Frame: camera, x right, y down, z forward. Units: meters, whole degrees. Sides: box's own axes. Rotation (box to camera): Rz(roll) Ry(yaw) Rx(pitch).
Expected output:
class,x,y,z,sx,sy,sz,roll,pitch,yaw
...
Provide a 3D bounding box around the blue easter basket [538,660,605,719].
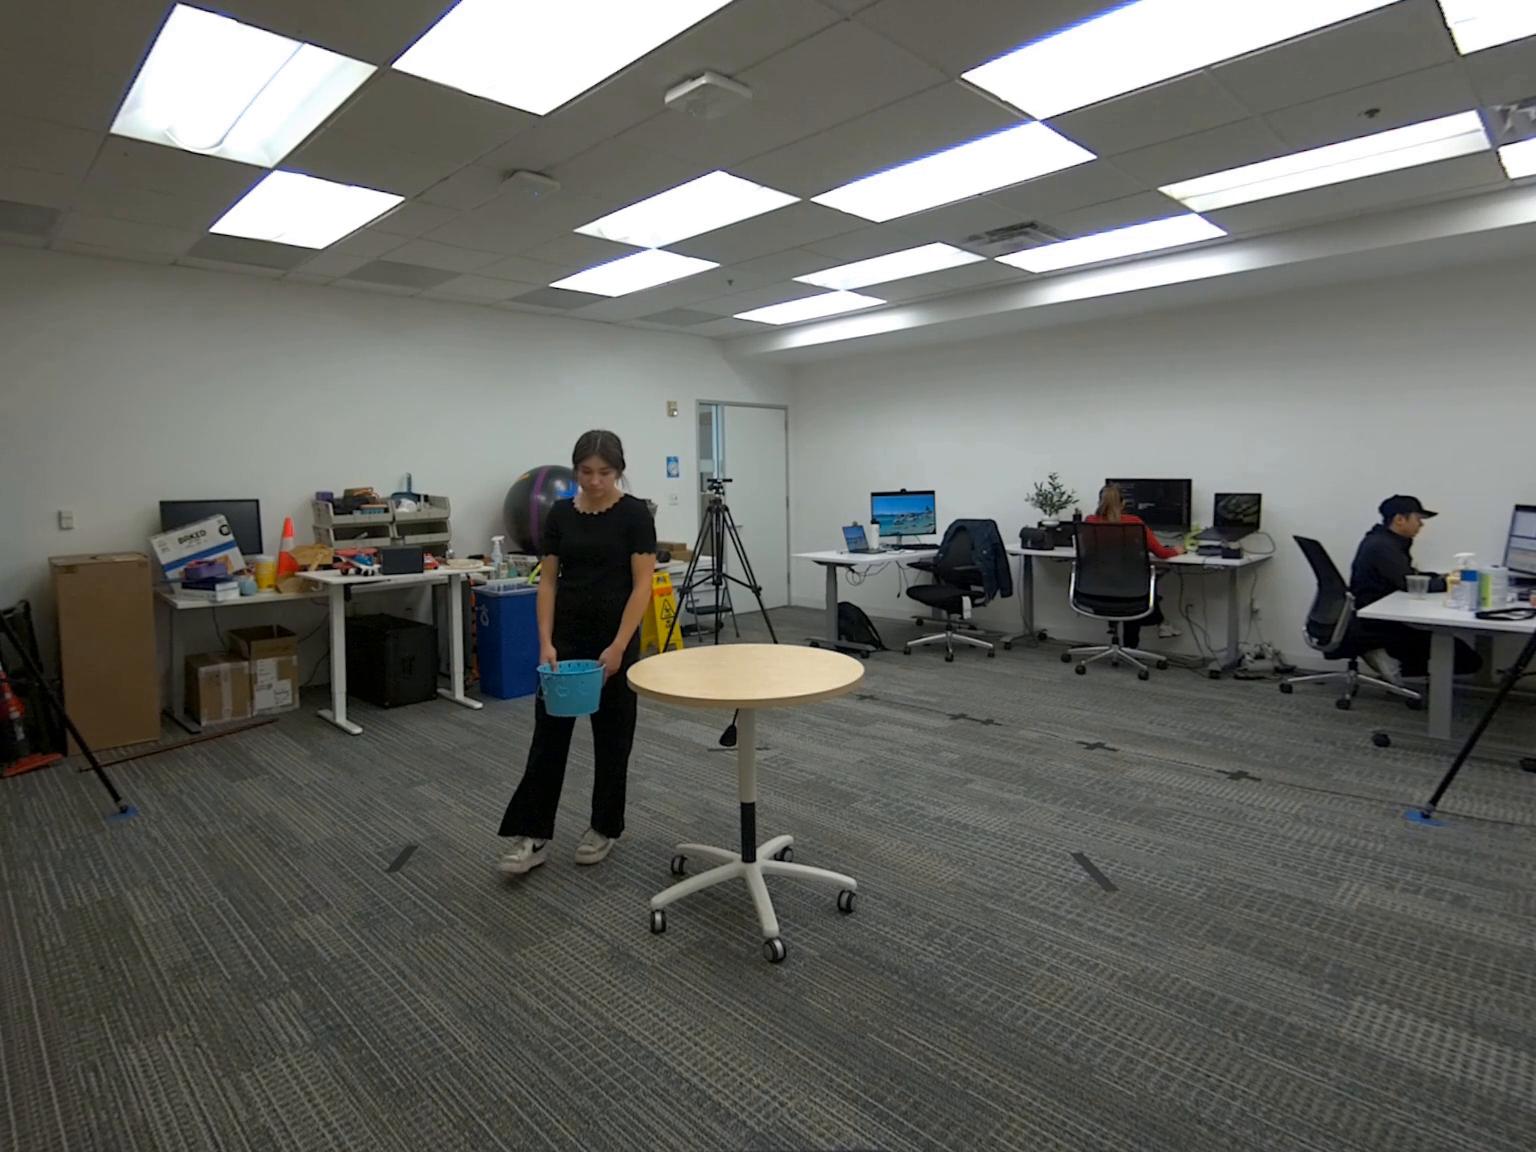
class,x,y,z,sx,sy,sz,roll,pitch,yaw
blue easter basket,-0.686,0.391,2.969,0.243,0.155,0.245,-2,5,-2
